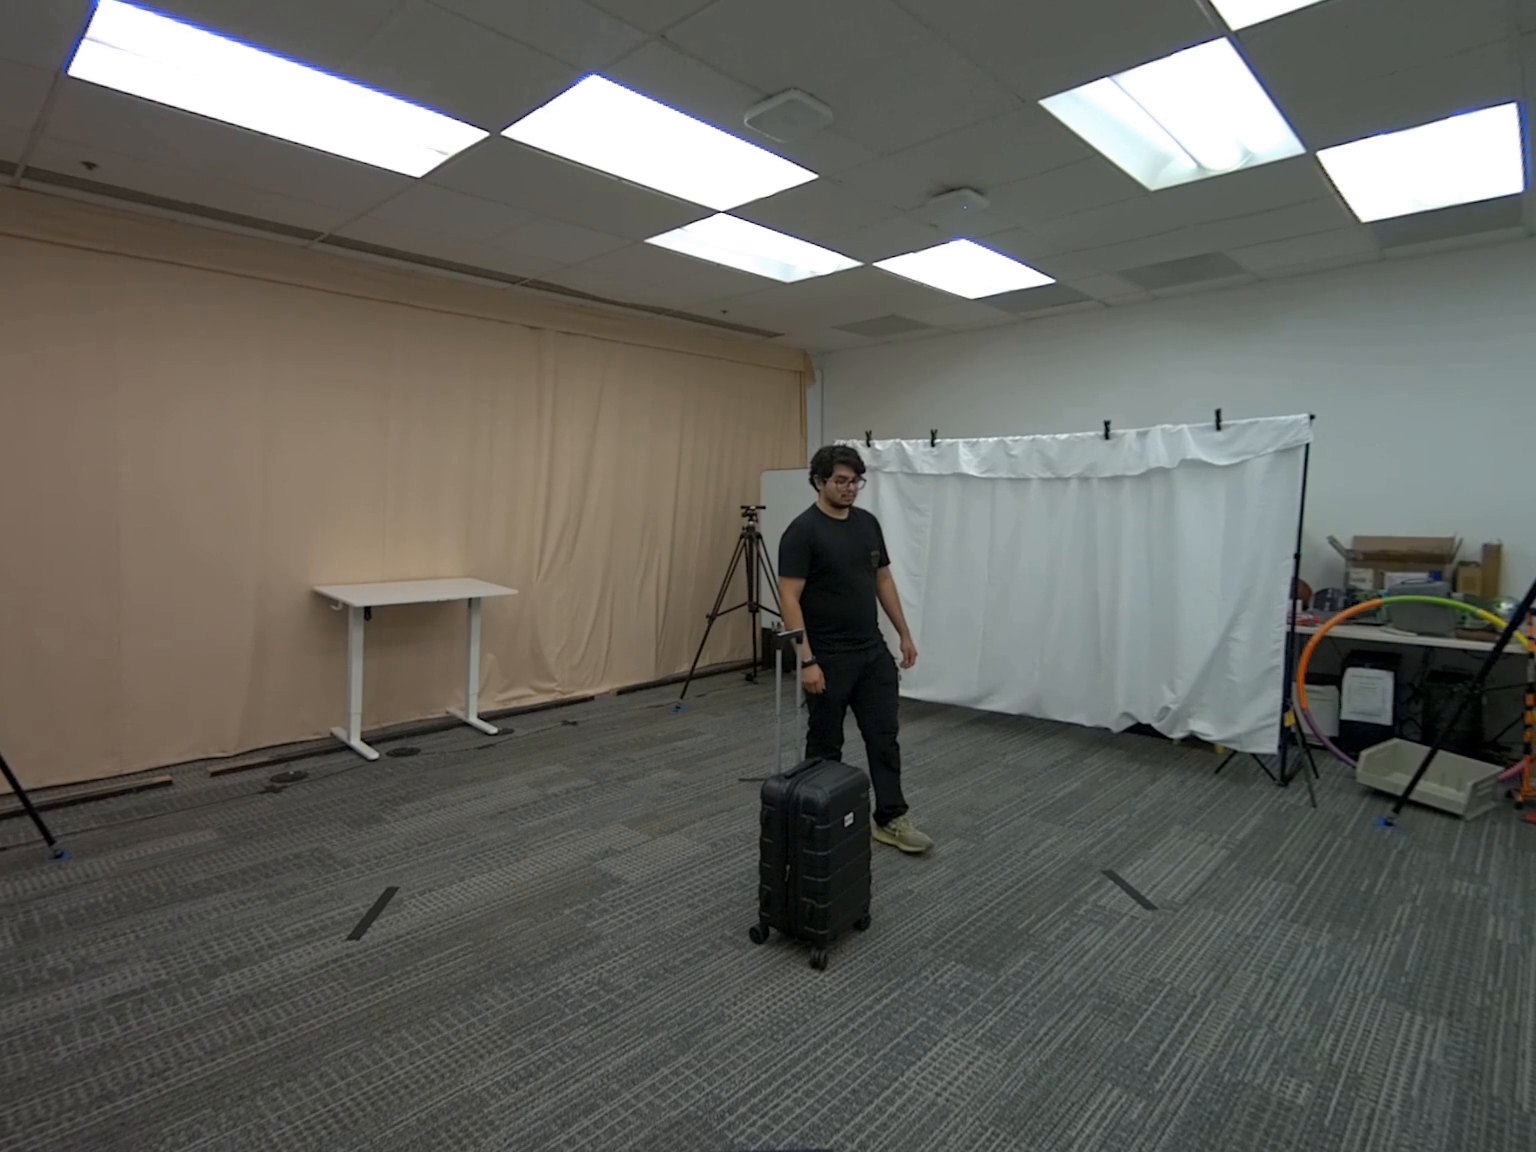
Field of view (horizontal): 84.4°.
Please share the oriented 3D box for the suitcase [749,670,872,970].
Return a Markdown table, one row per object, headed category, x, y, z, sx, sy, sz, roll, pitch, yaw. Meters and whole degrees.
| category | x | y | z | sx | sy | sz | roll | pitch | yaw |
| --- | --- | --- | --- | --- | --- | --- | --- | --- | --- |
| suitcase | 0.163 | 0.691 | 2.707 | 0.265 | 0.976 | 0.373 | 4 | 4 | 33 |
